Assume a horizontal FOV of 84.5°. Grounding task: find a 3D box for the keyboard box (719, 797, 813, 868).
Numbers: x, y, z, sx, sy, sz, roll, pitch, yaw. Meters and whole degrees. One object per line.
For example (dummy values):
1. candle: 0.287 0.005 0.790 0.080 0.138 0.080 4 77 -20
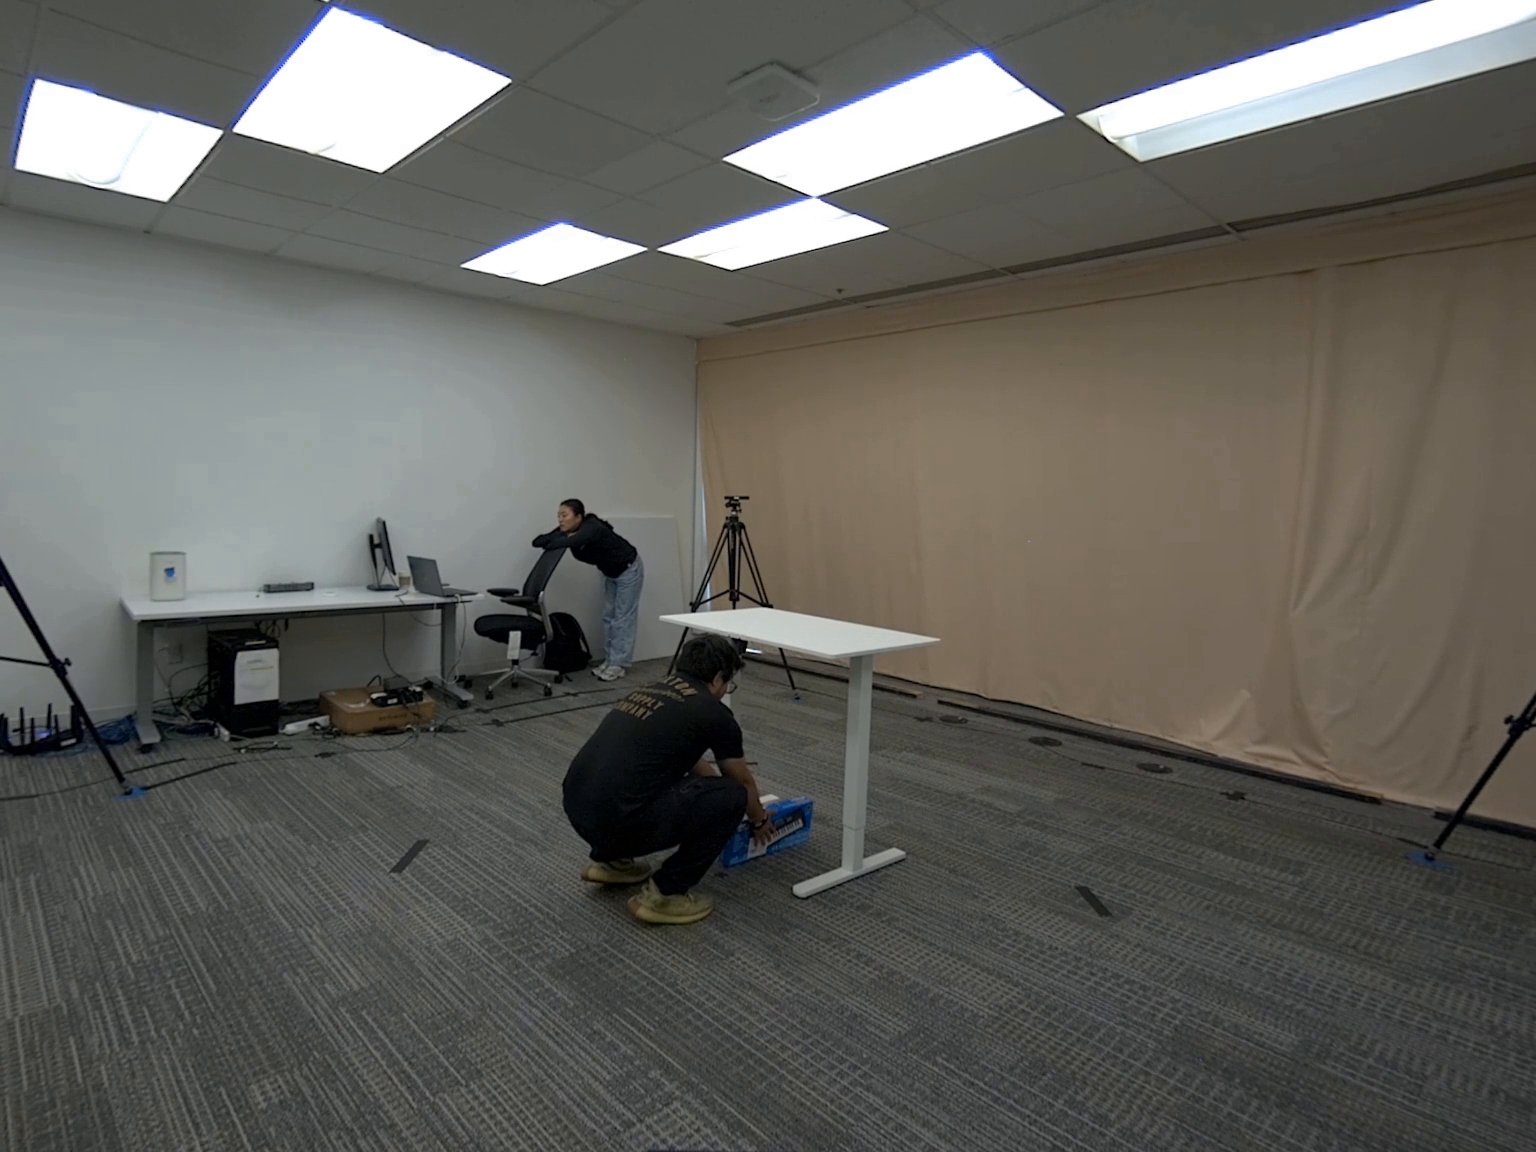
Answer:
1. keyboard box: -0.005 0.999 3.310 0.427 0.175 0.061 -2 10 -42
